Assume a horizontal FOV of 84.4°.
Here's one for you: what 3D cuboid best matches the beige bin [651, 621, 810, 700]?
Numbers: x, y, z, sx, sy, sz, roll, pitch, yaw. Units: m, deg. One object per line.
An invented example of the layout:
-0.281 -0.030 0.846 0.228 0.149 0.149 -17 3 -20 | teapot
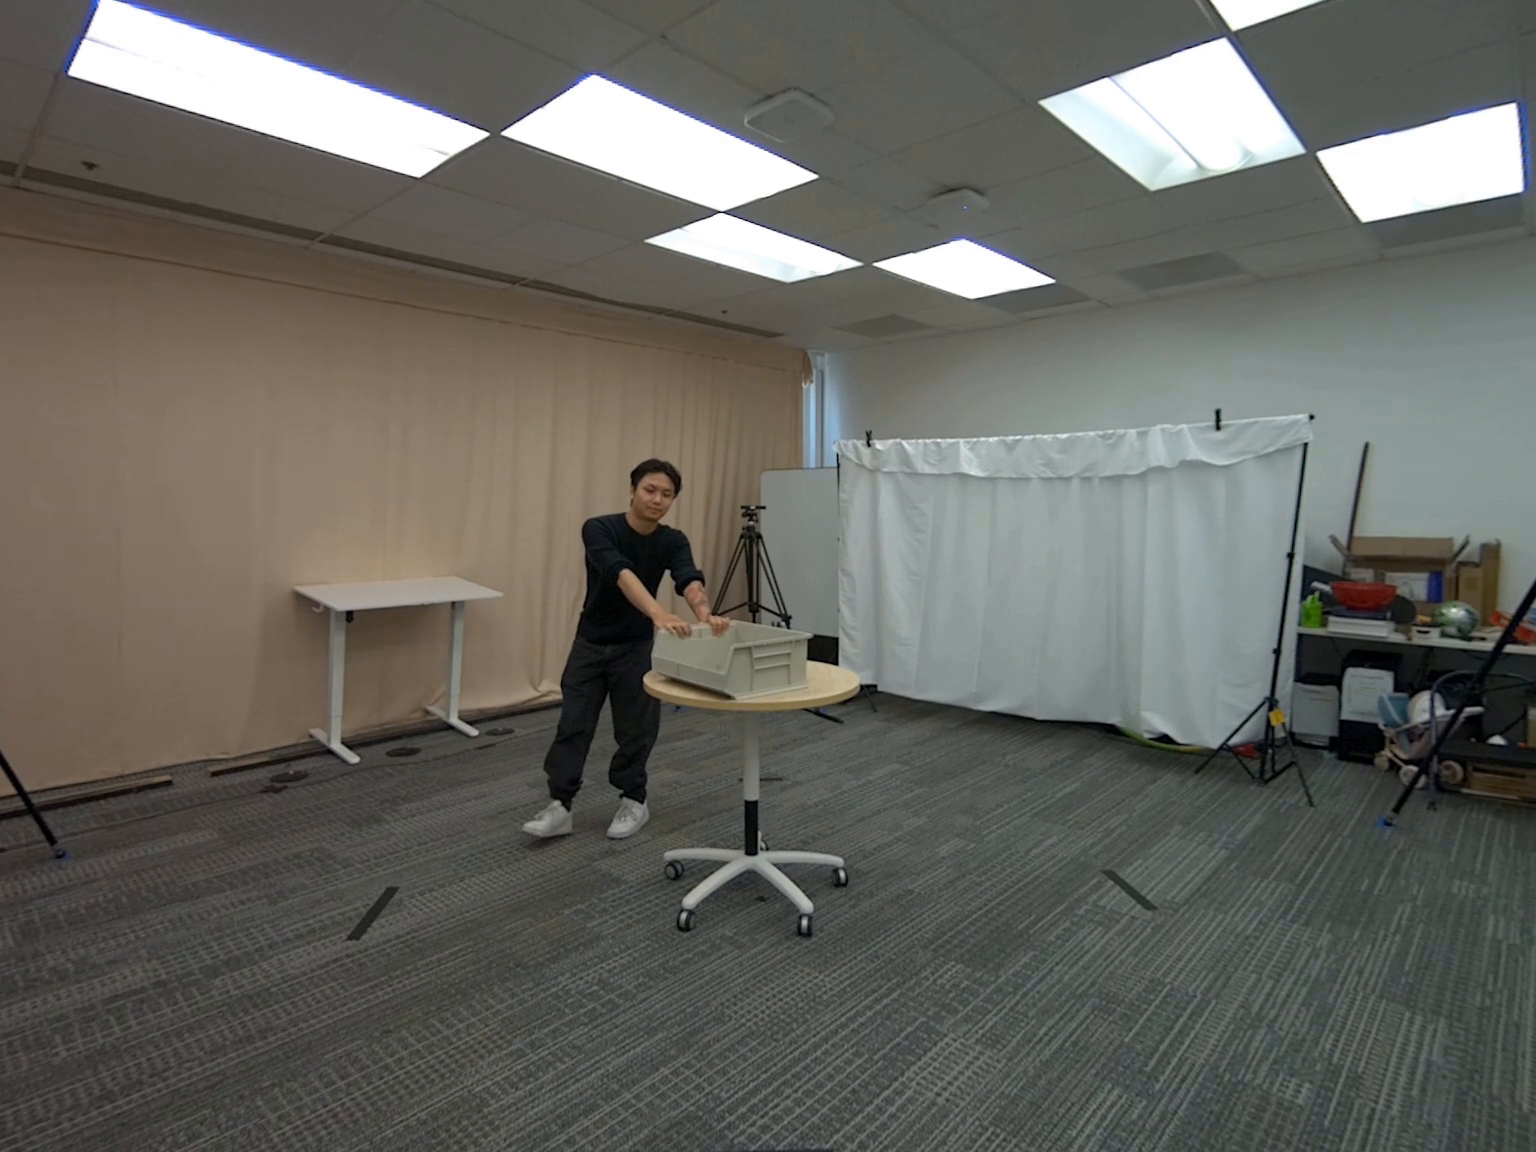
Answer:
-0.126 0.280 2.878 0.366 0.189 0.436 -1 4 -39 | beige bin
